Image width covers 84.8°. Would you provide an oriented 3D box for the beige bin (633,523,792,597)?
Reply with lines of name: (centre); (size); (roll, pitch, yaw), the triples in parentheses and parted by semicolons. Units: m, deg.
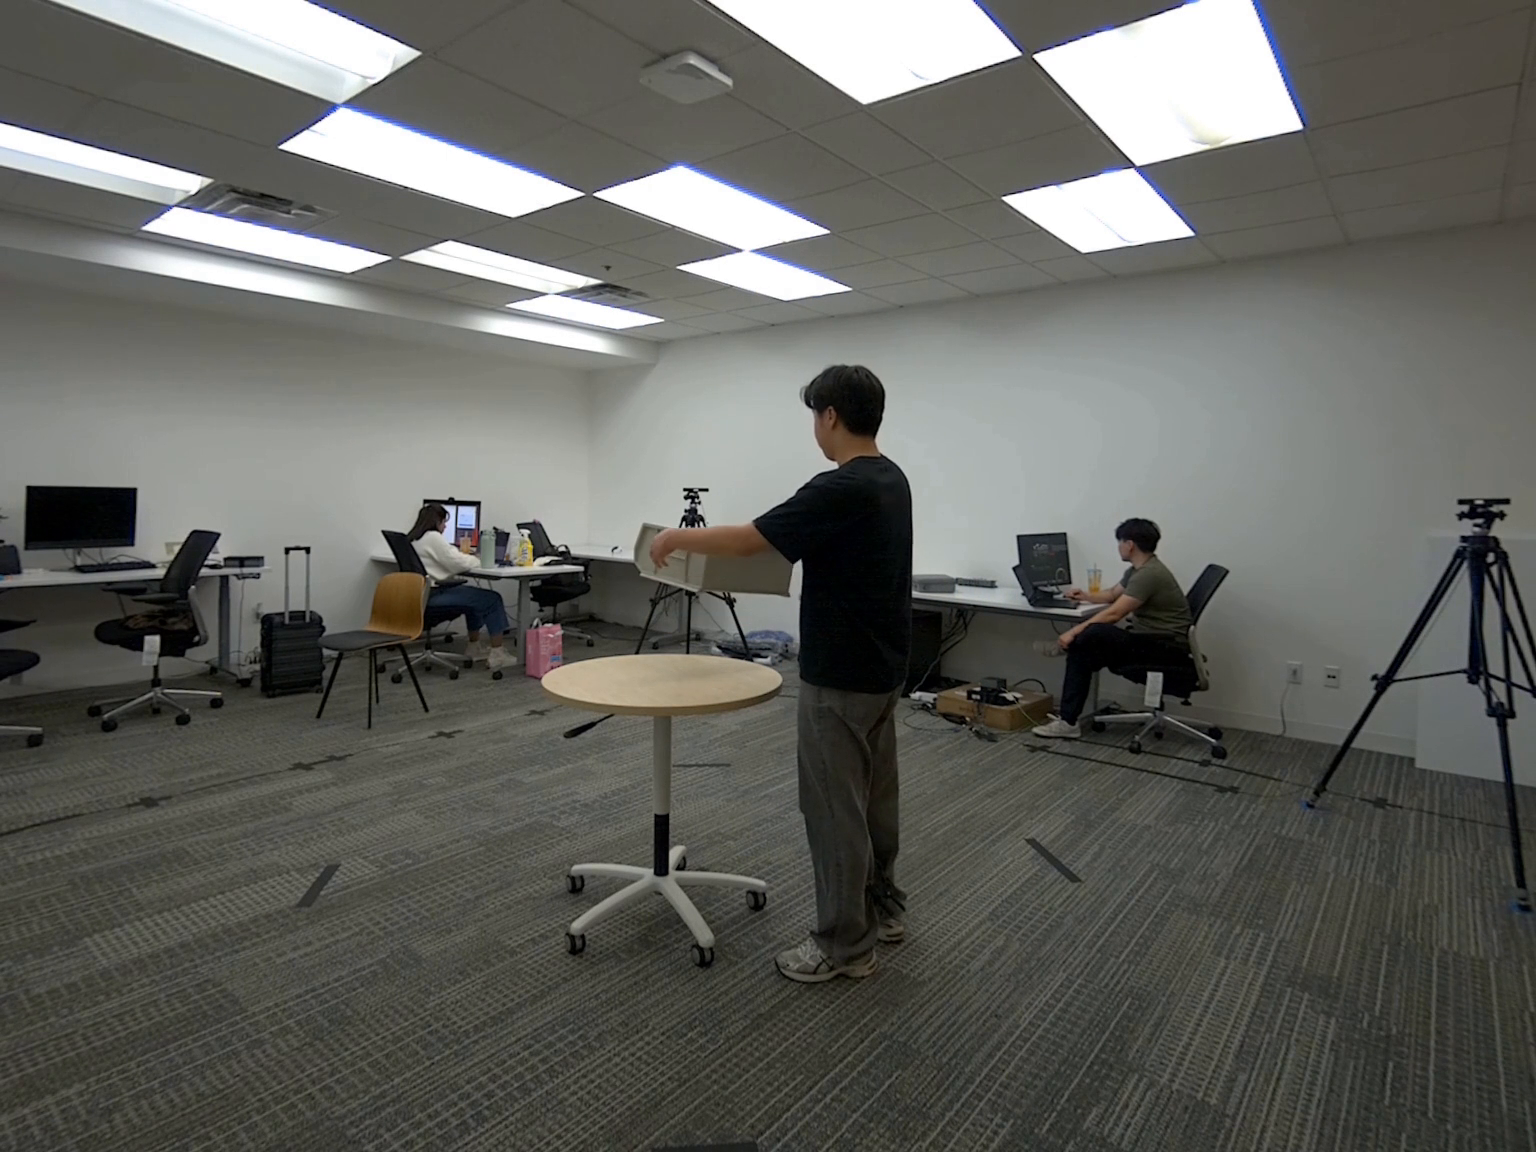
beige bin: (-0.189, -0.048, 2.871); (0.408, 0.188, 0.392); (3, 8, -42)
